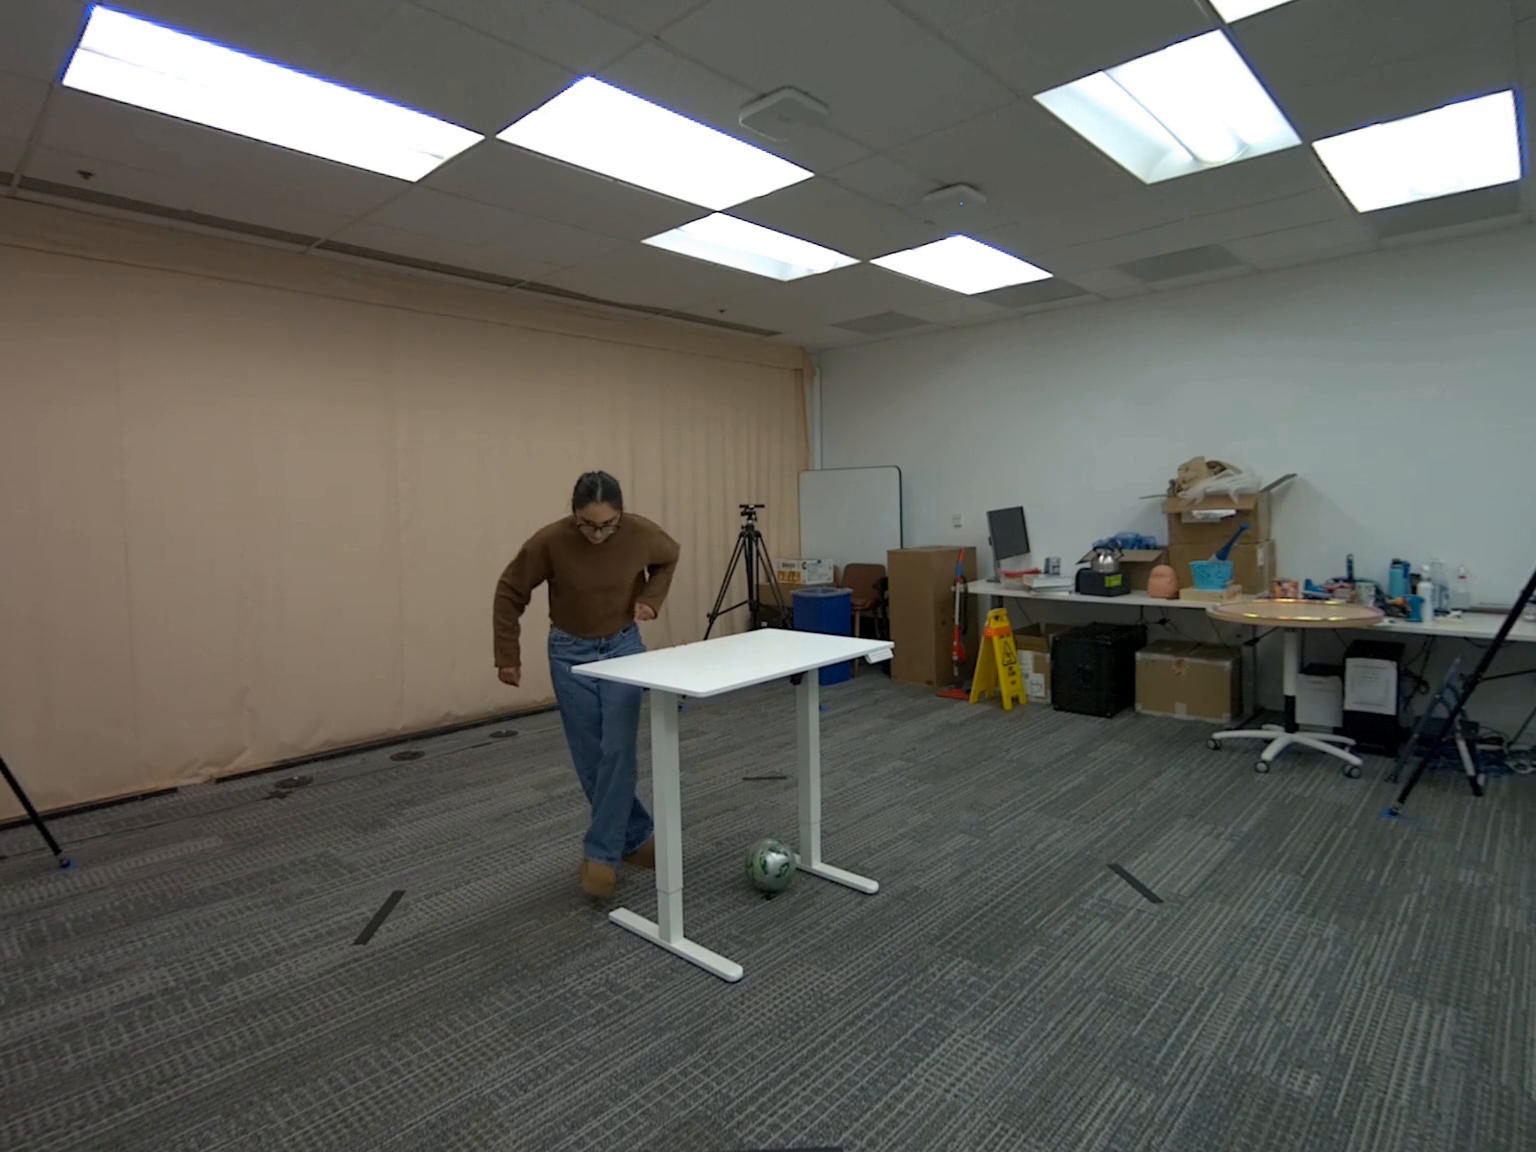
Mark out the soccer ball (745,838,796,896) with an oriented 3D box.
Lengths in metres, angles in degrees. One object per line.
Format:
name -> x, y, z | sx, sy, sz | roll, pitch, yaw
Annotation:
soccer ball -> 0.009, 1.043, 3.034 | 0.187, 0.187, 0.188 | -1, 4, -2
